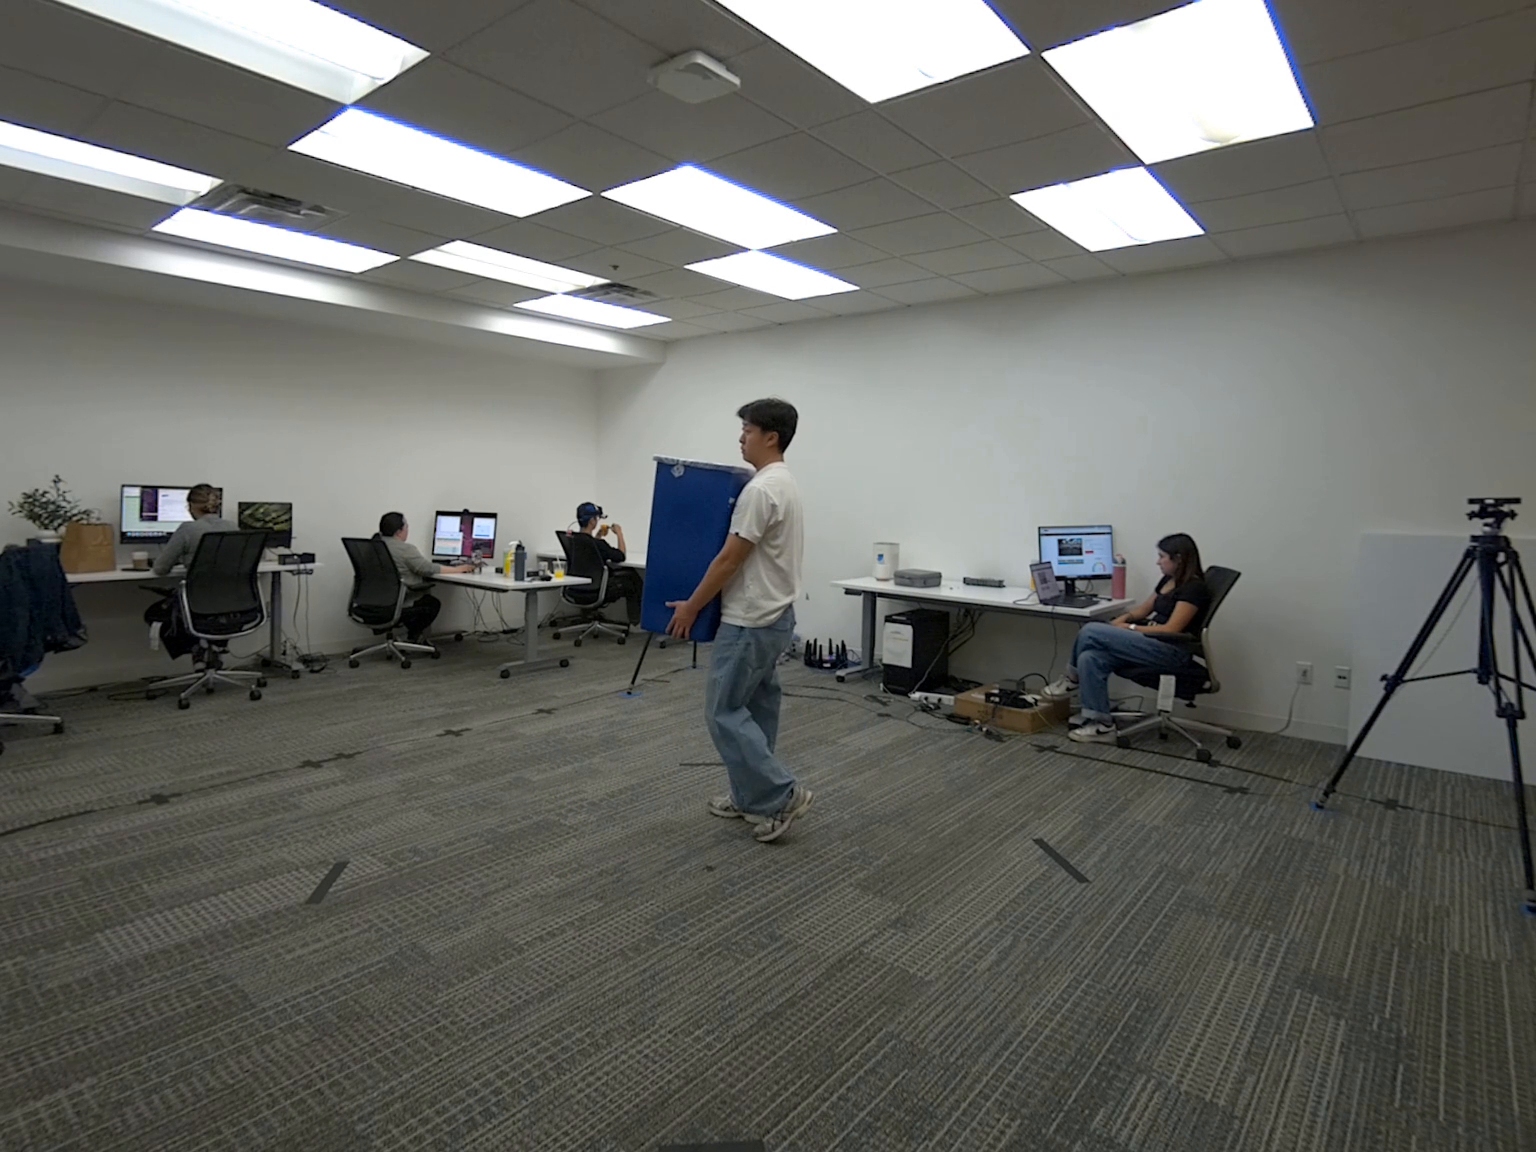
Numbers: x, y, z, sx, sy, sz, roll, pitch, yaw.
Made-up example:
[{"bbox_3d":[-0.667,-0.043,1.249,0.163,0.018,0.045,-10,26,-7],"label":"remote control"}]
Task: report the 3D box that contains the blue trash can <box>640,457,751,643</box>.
[{"bbox_3d":[-0.305,-0.128,3.566,0.387,0.710,0.367,11,6,19],"label":"blue trash can"}]
